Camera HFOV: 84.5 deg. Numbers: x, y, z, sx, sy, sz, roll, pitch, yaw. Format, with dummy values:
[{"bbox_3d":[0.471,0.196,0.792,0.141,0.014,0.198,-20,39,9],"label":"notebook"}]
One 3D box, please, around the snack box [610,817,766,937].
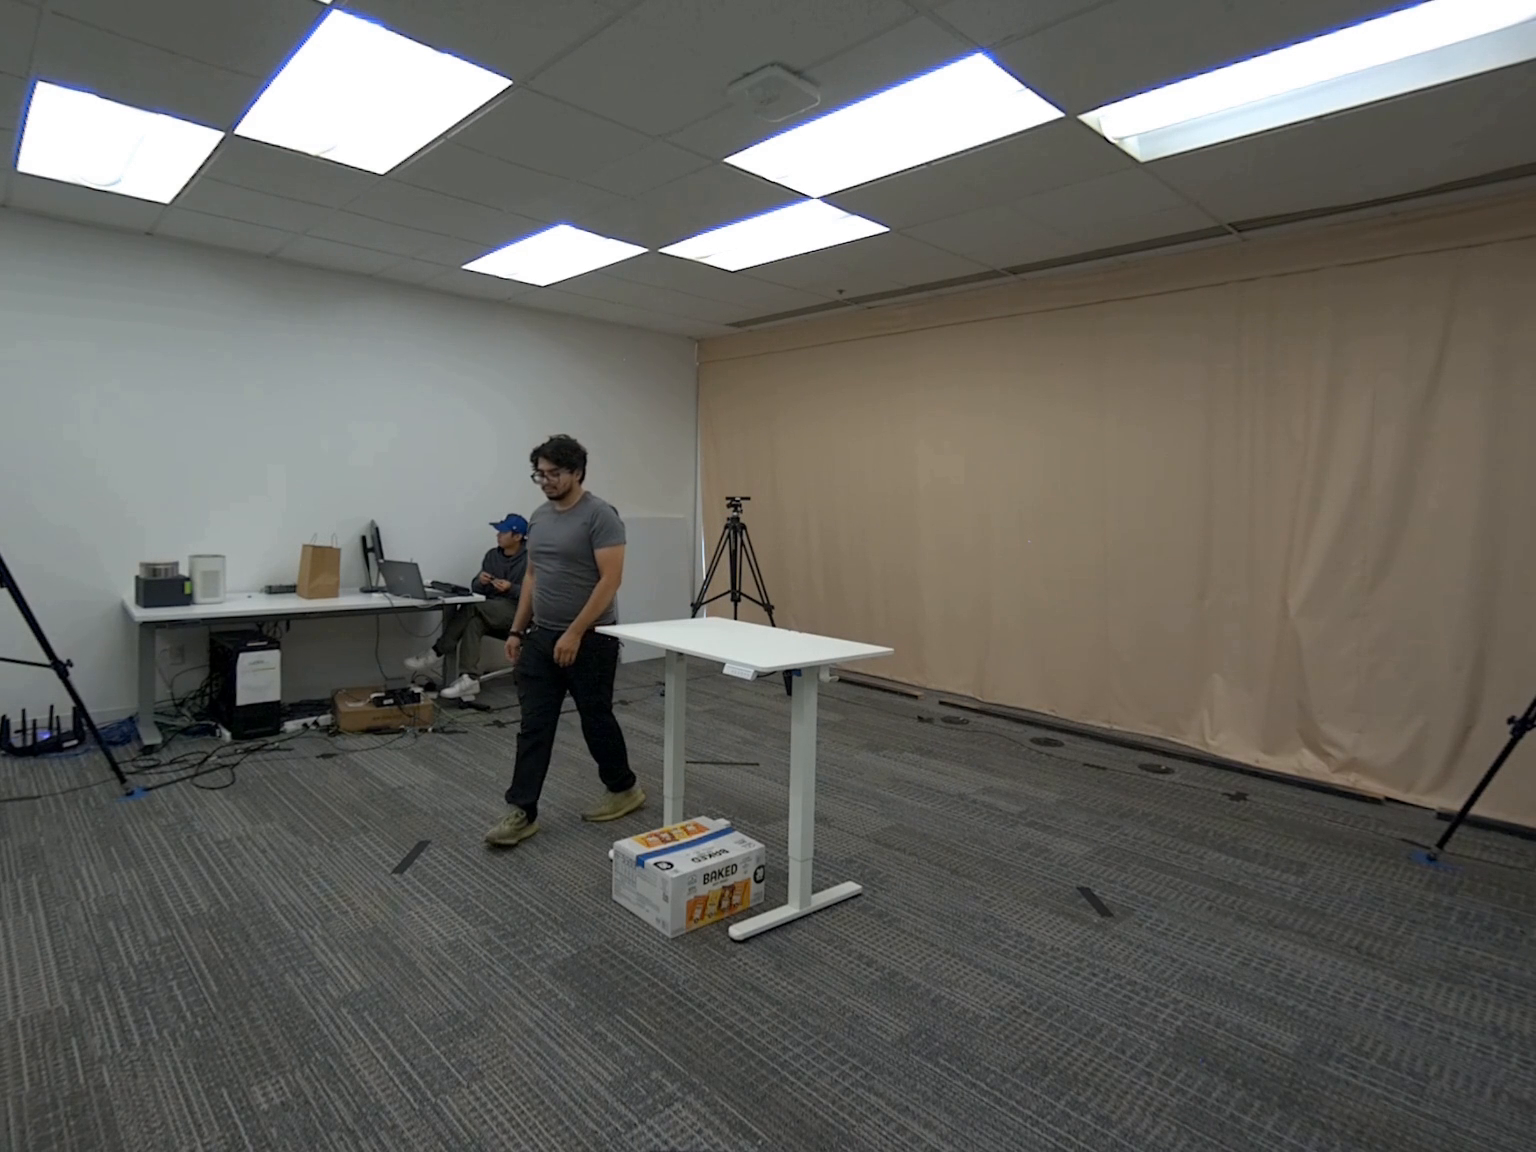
[{"bbox_3d":[-0.277,1.024,2.890,0.396,0.205,0.349,-3,6,-42],"label":"snack box"}]
